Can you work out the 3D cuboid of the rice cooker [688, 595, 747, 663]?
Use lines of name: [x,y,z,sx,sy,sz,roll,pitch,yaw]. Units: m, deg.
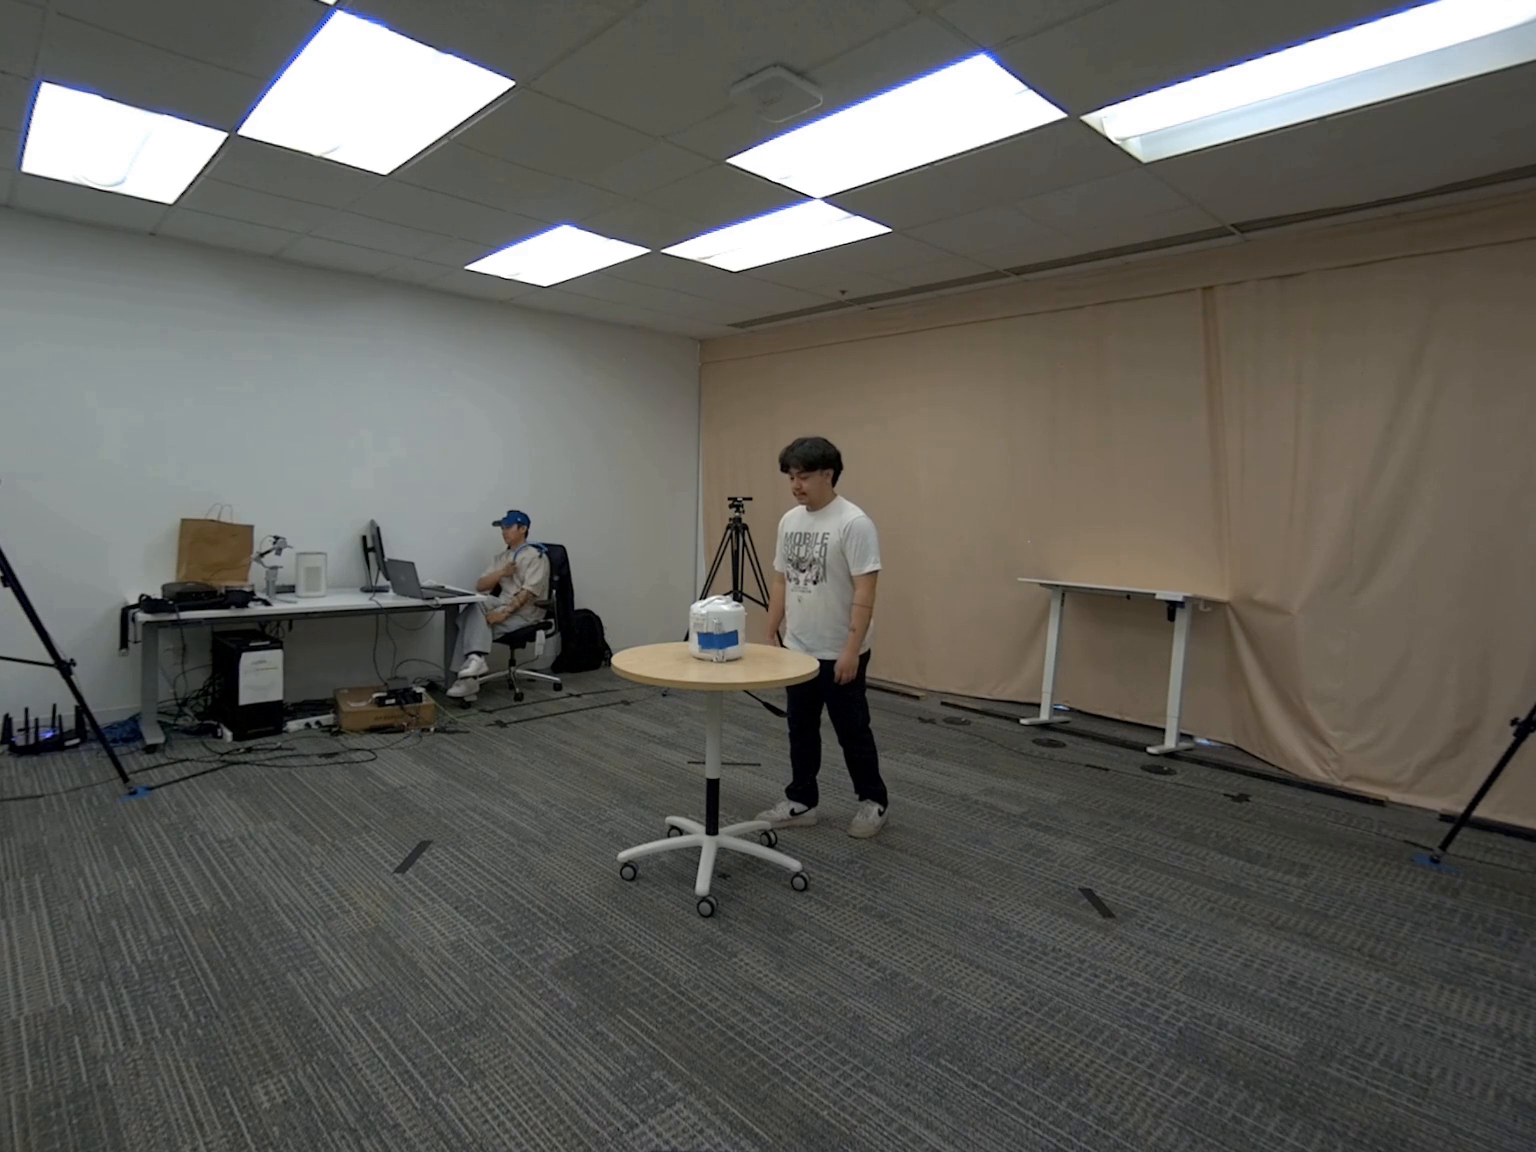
rice cooker: [-0.199,0.186,3.147,0.223,0.232,0.216,6,6,38]
